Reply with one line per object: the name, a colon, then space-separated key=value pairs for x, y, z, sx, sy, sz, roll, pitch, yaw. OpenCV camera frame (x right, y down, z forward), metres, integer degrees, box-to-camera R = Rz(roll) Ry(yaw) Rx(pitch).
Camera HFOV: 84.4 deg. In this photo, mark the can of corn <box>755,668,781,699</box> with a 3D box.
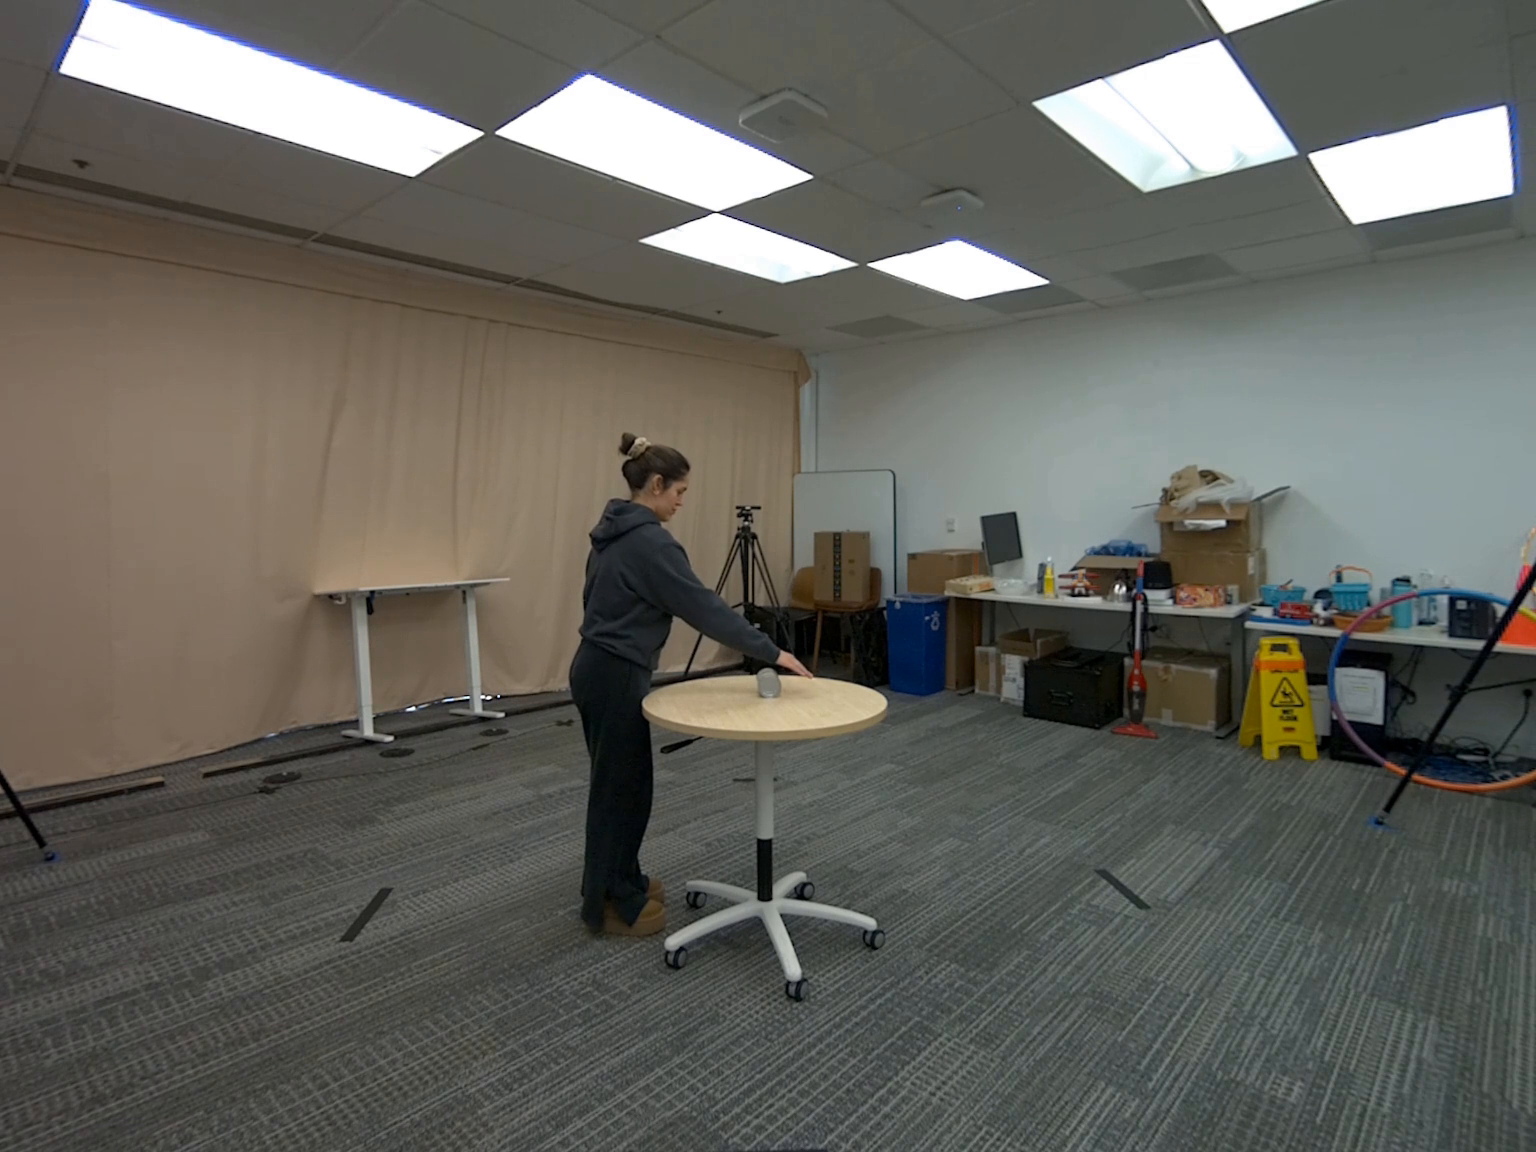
can of corn: x=0.012 y=0.343 z=2.714 sx=0.074 sy=0.074 sz=0.111 roll=0 pitch=4 yaw=-1
